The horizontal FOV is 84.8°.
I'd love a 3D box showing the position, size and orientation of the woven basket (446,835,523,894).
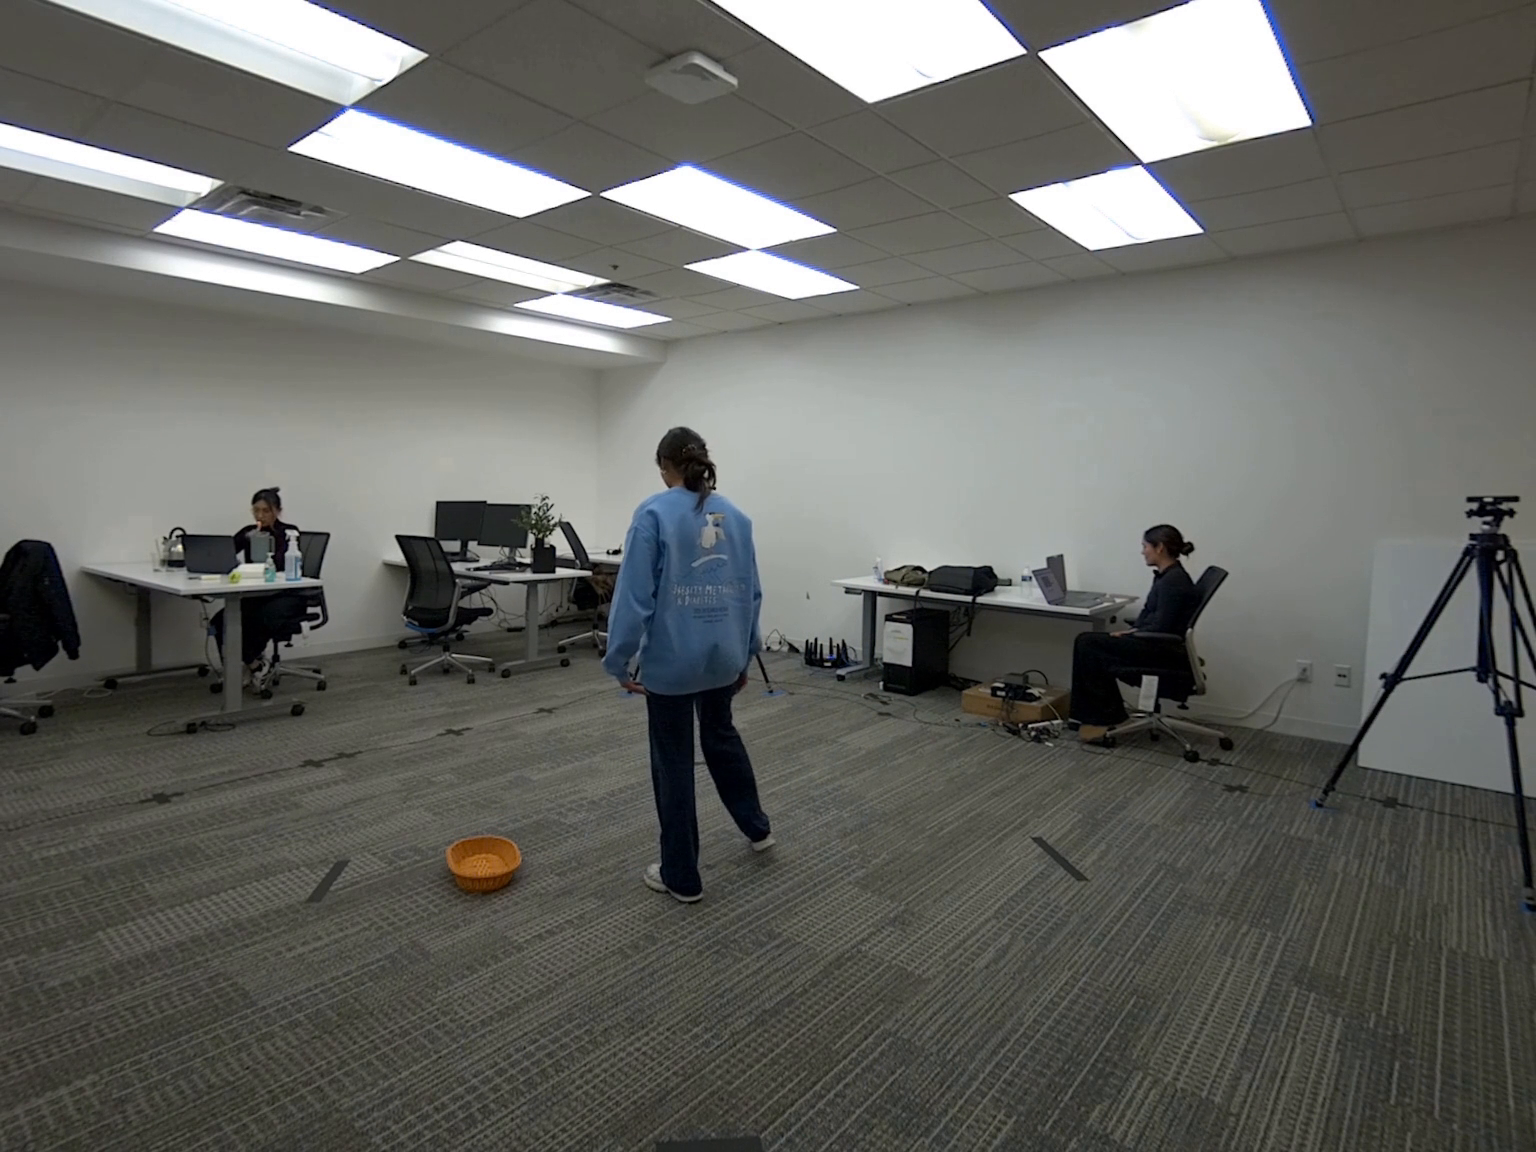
[{"bbox_3d":[-1.026,1.028,3.027,0.246,0.073,0.360,-2,6,-26],"label":"woven basket"}]
